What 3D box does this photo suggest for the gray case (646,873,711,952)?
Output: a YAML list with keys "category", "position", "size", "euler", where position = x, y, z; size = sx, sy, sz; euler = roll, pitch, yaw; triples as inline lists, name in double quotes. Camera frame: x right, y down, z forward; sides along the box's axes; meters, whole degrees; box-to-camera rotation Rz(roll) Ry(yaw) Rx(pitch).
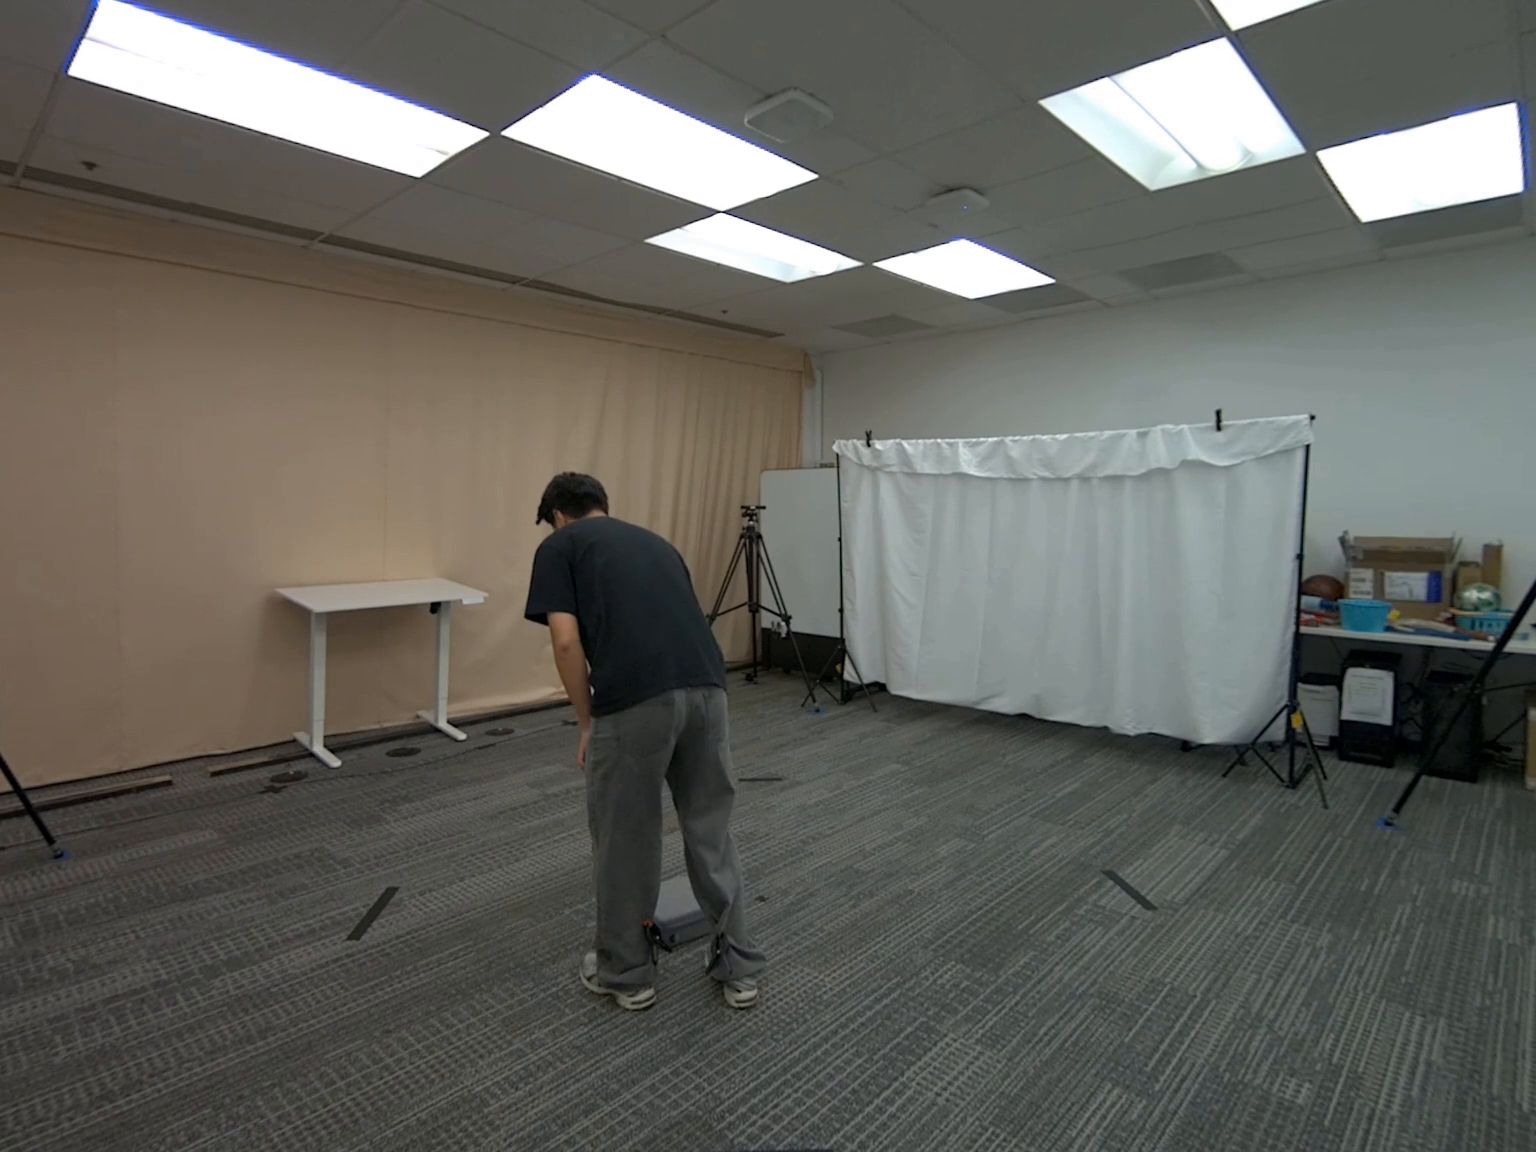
- category: "gray case"
  position: [-0.323, 1.116, 2.777]
  size: [0.279, 0.103, 0.271]
  euler: [-4, 4, -36]
